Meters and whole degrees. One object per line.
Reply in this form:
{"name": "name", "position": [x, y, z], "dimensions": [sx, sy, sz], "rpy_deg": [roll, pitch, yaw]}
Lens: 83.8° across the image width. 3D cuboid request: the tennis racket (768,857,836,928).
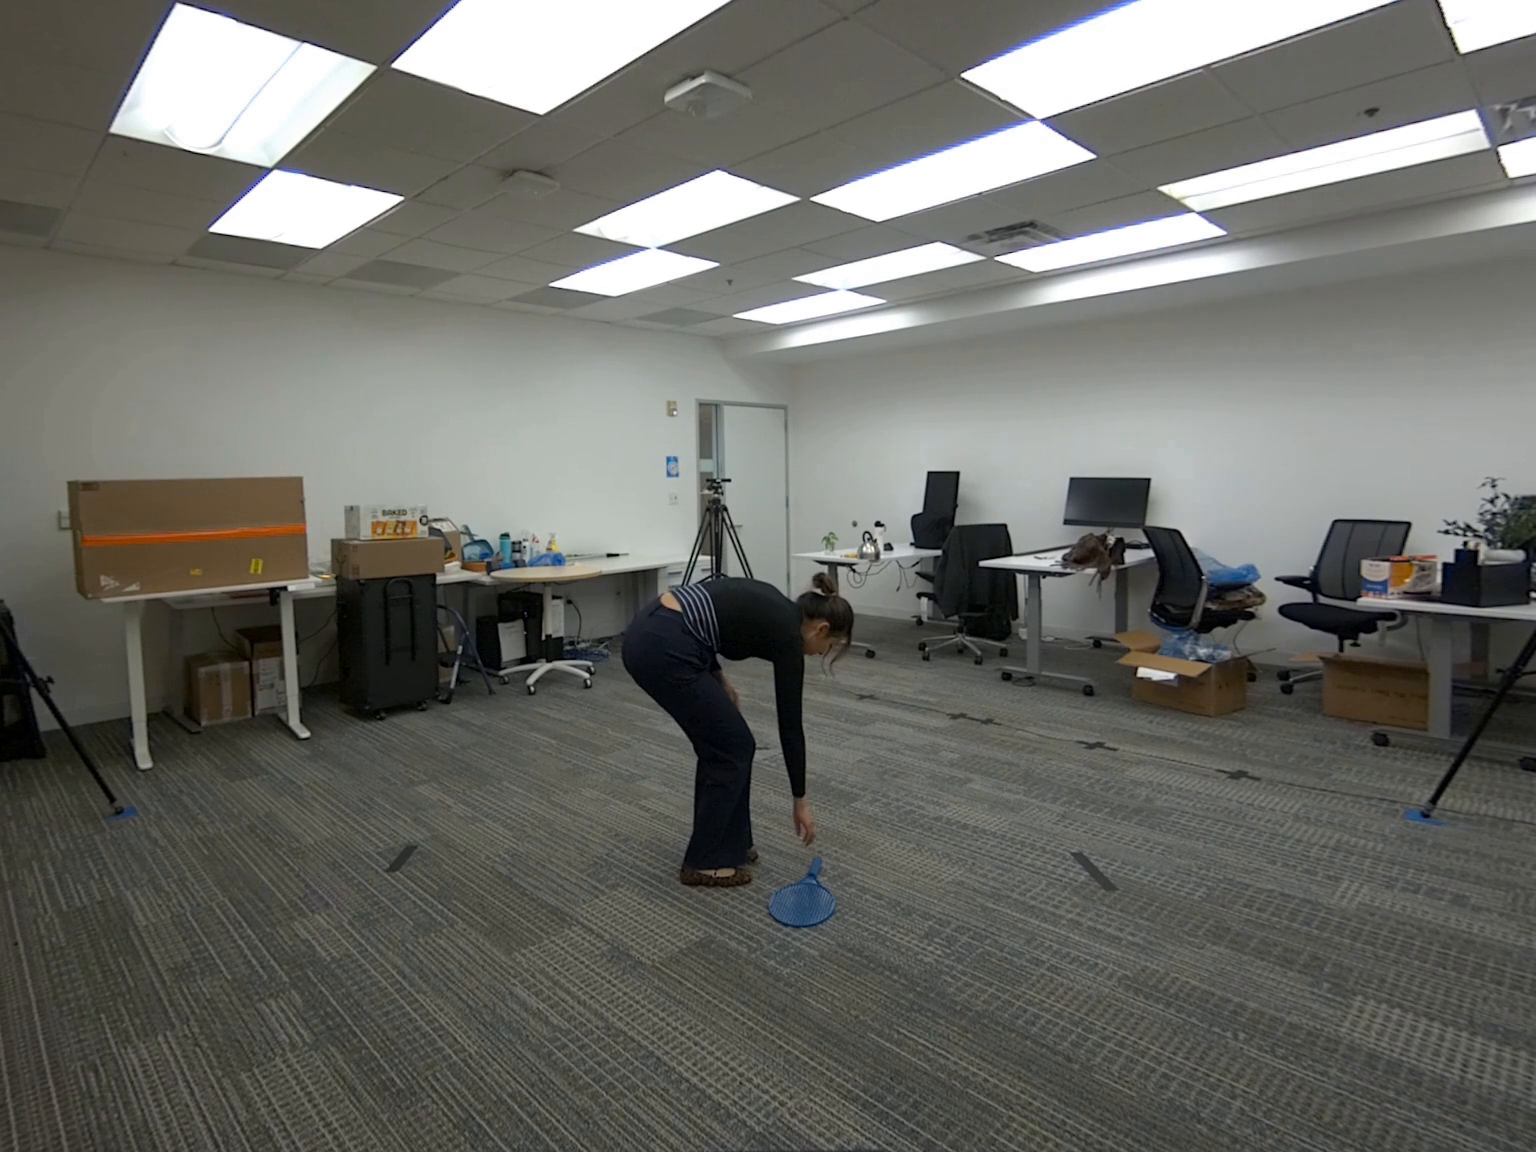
{"name": "tennis racket", "position": [0.125, 1.055, 2.864], "dimensions": [0.216, 0.031, 0.430], "rpy_deg": [0, 8, 11]}
